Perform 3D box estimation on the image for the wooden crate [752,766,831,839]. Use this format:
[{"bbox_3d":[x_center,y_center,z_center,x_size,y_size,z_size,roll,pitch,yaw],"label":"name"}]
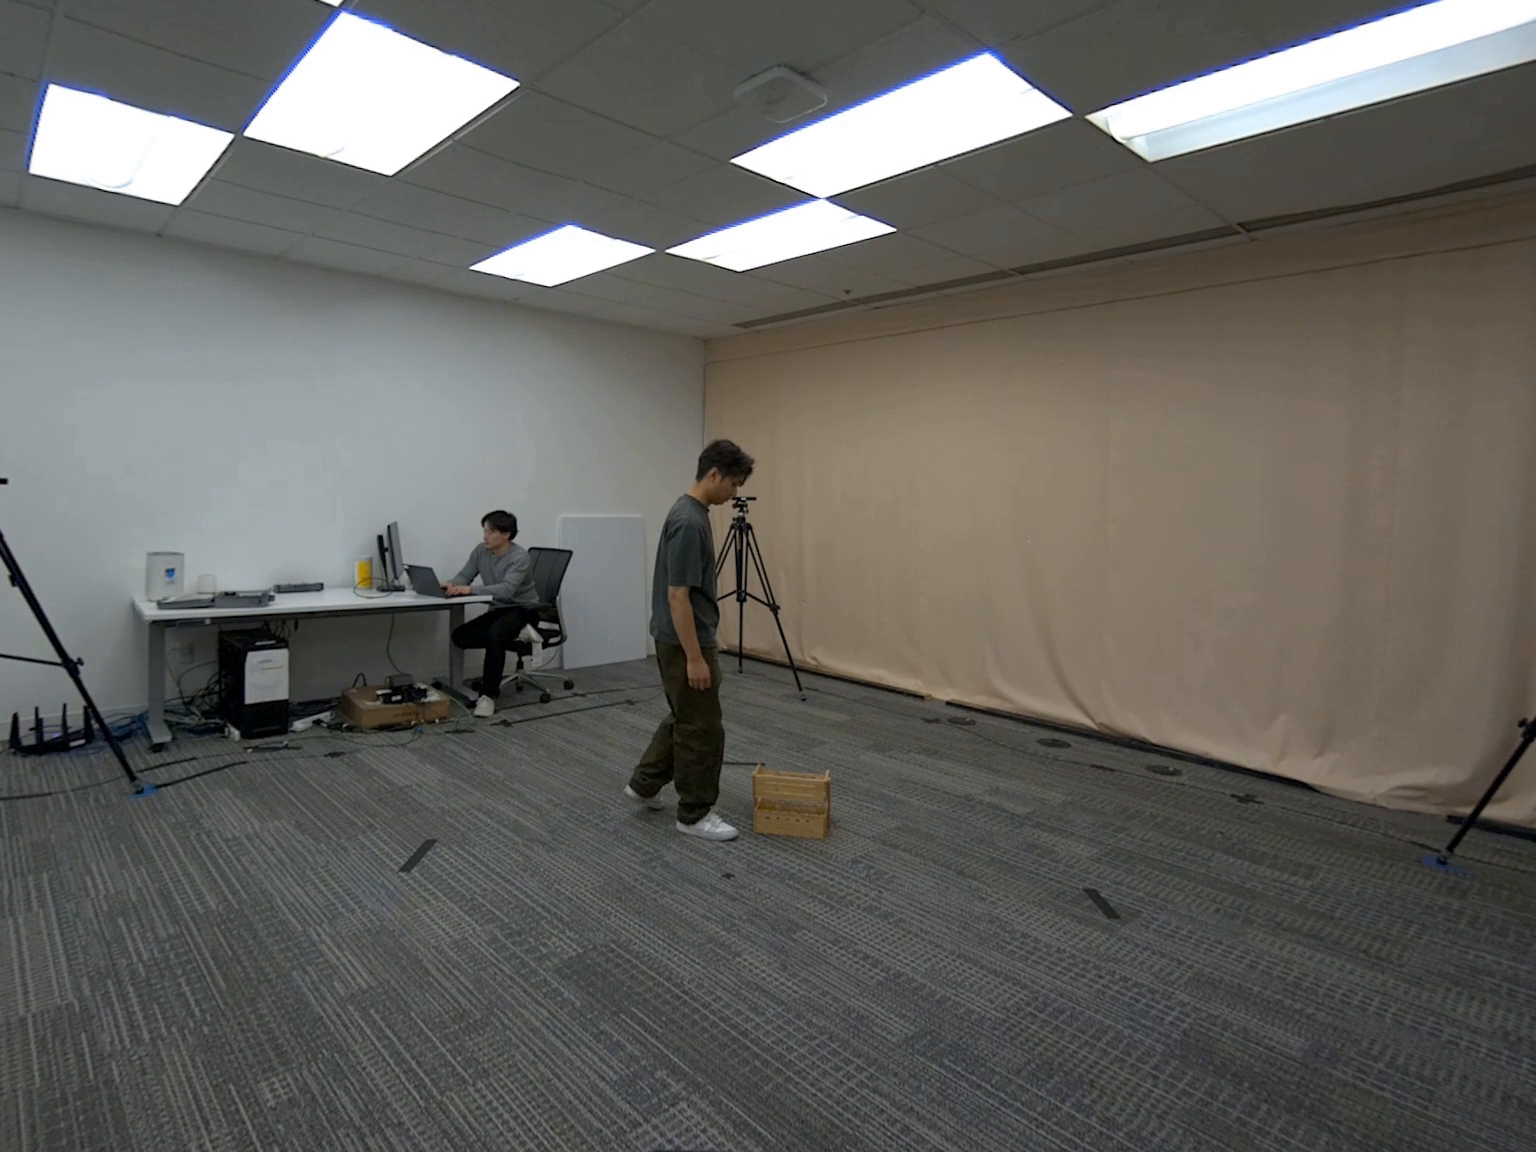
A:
[{"bbox_3d":[0.097,0.936,3.596,0.327,0.272,0.300,2,5,9],"label":"wooden crate"}]
